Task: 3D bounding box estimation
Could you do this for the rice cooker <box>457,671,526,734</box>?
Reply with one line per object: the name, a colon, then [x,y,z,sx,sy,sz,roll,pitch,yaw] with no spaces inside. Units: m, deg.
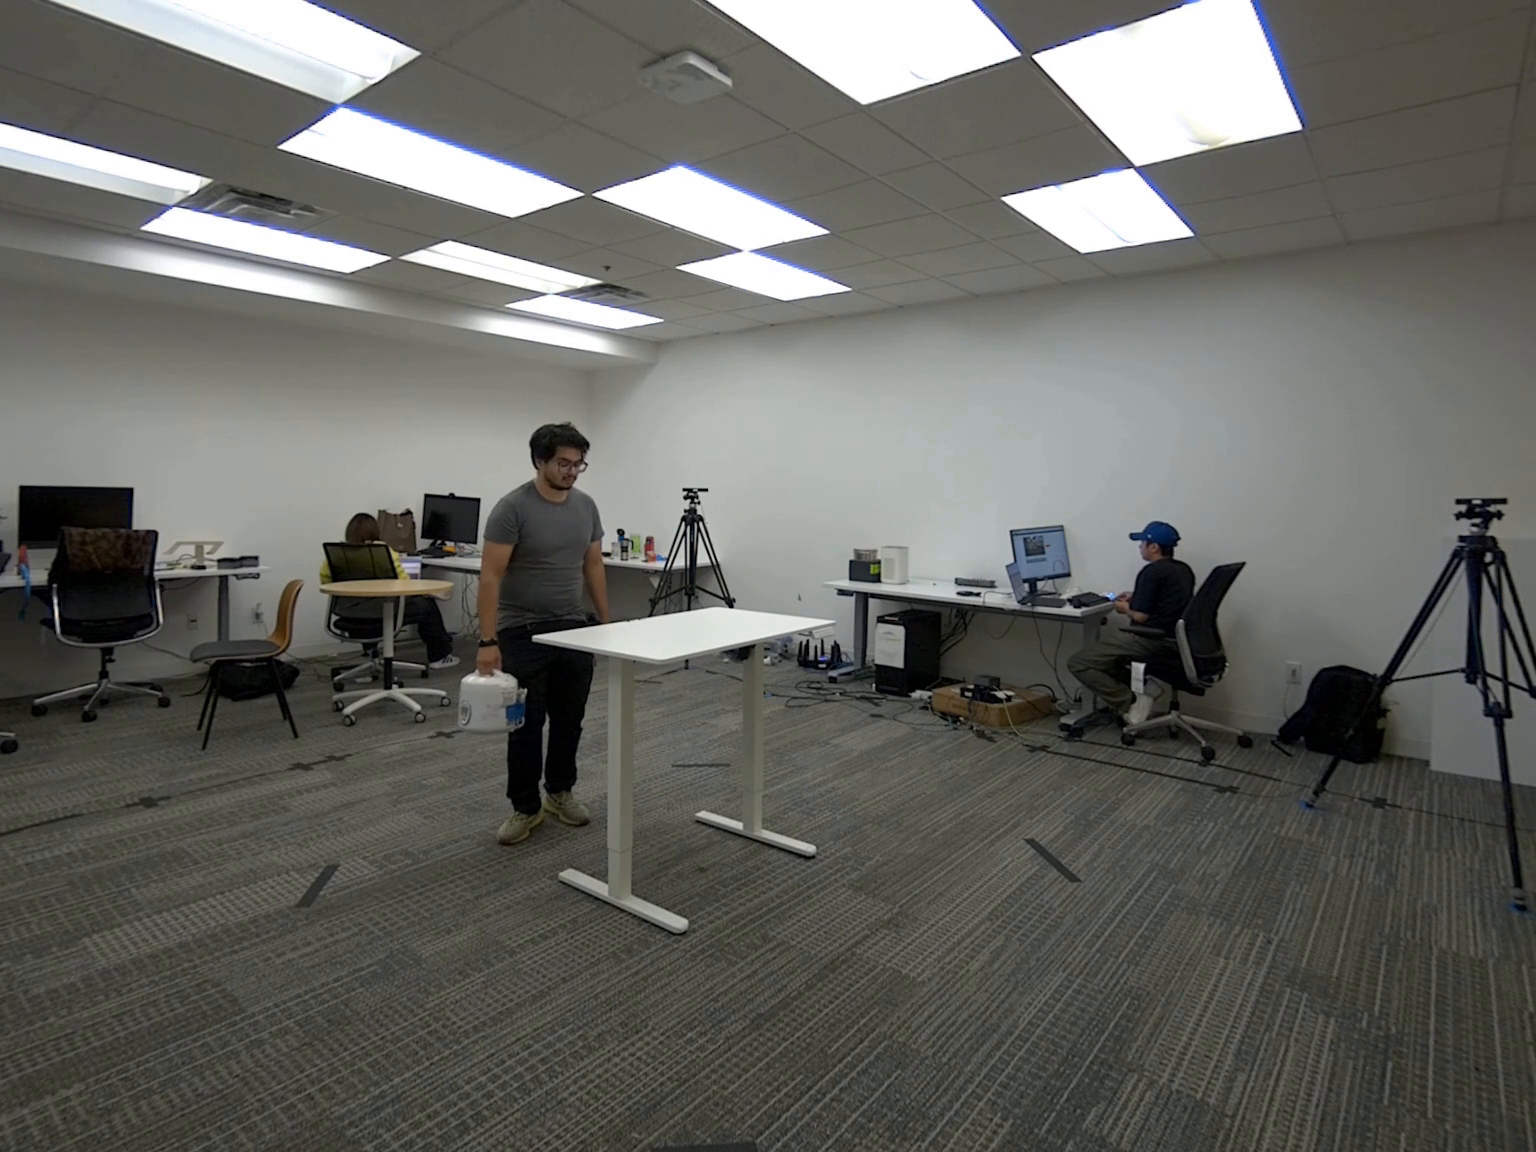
rice cooker: [-1.067,0.462,3.174,0.227,0.233,0.210,2,-2,32]
